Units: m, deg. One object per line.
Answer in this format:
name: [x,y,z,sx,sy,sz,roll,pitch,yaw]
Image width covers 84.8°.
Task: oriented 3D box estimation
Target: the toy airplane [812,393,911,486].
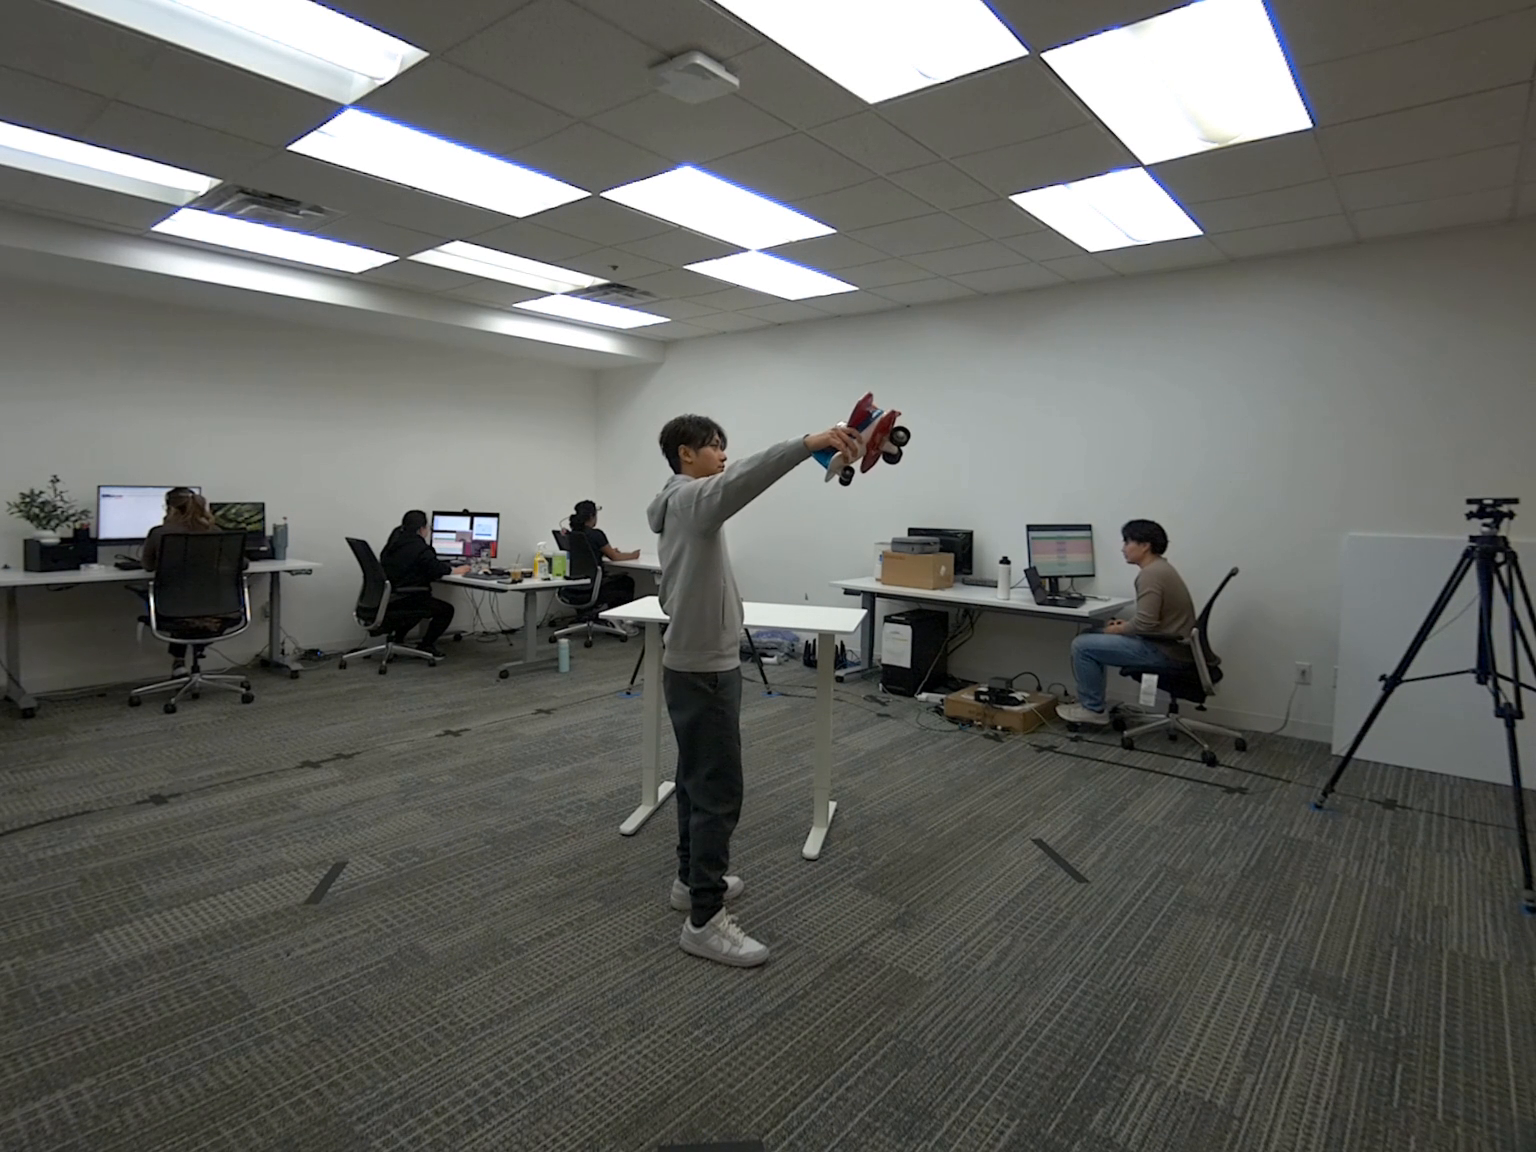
toy airplane: [0.244,-0.363,2.282,0.253,0.161,0.250,-15,-28,-43]
